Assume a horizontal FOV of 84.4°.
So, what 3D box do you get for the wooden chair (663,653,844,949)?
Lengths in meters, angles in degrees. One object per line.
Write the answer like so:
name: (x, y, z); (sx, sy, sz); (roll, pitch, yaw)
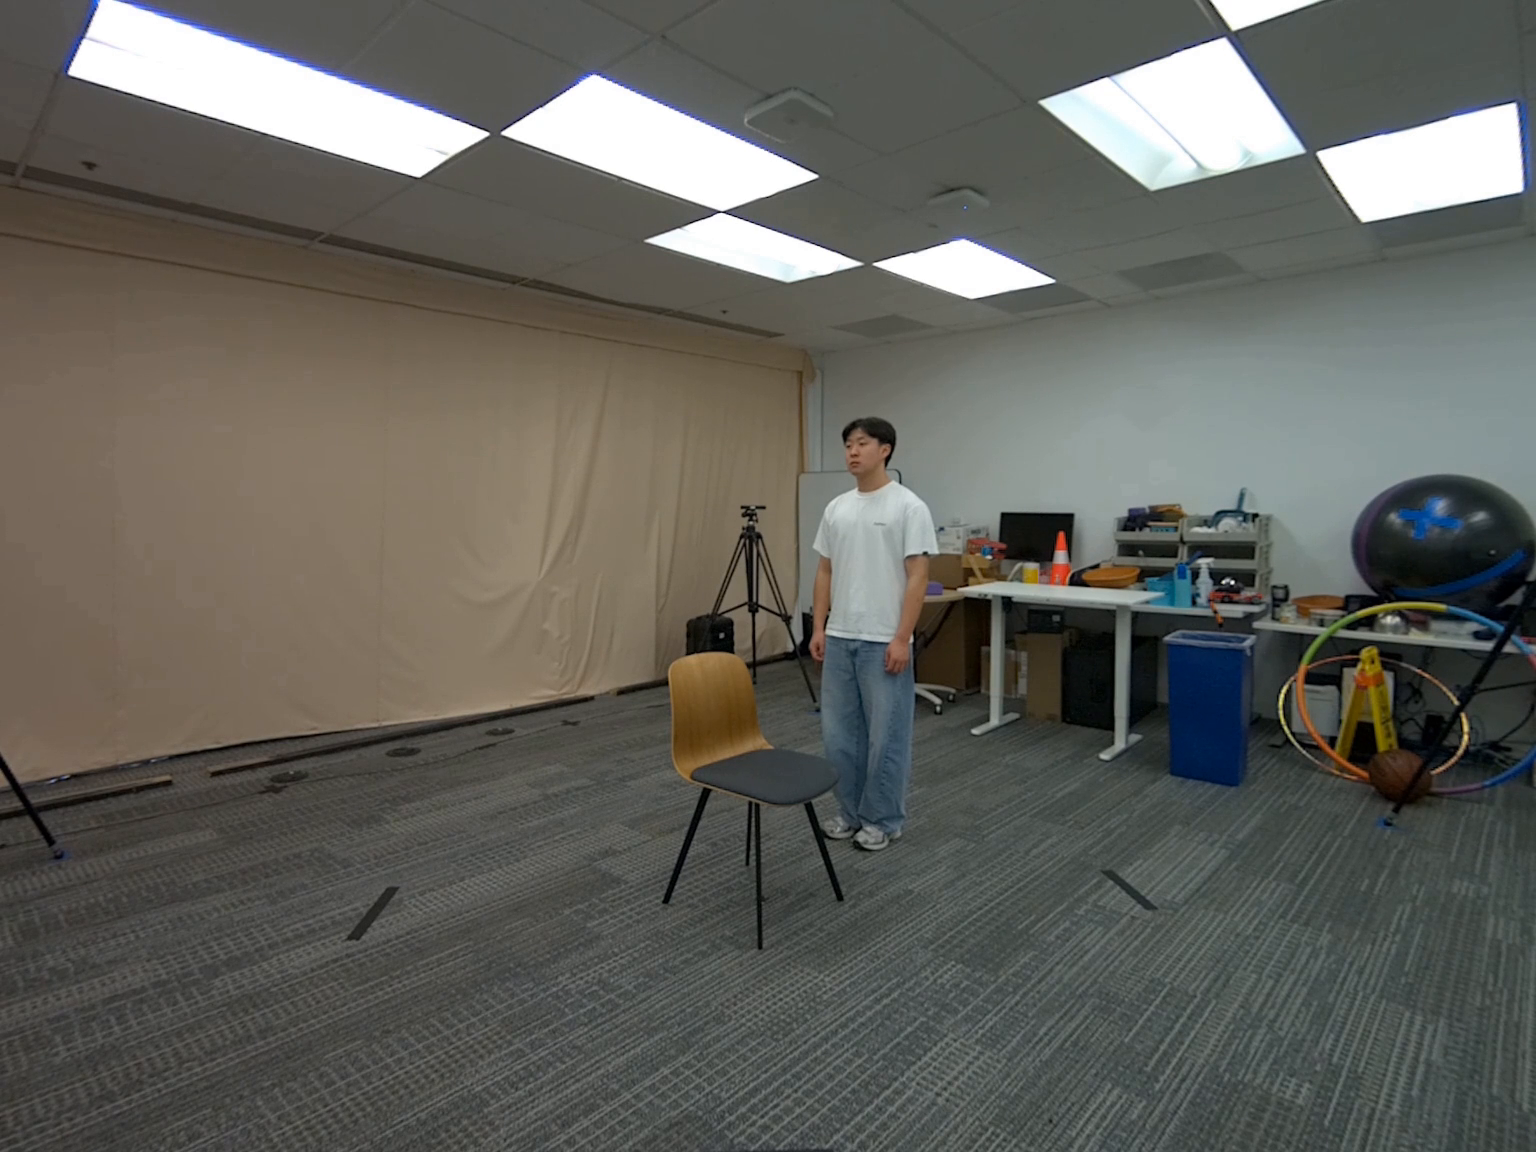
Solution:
wooden chair: (-0.044, 0.722, 2.919); (0.539, 0.877, 0.463); (-3, 0, 42)
